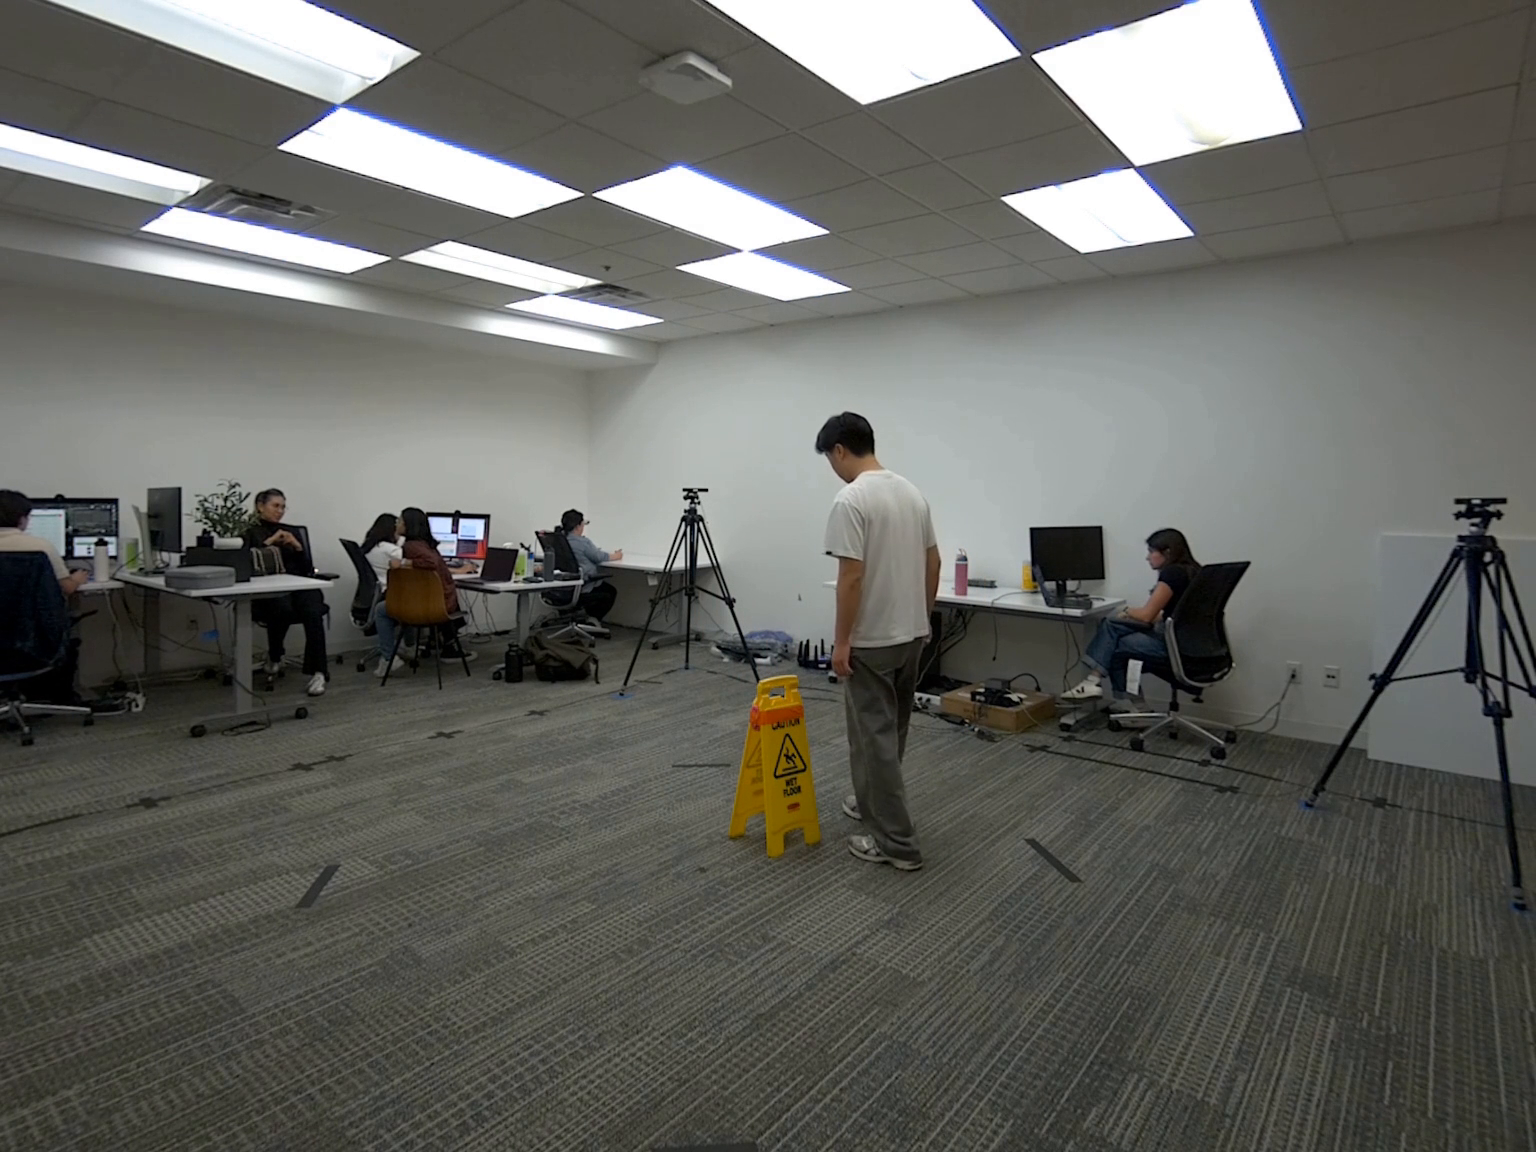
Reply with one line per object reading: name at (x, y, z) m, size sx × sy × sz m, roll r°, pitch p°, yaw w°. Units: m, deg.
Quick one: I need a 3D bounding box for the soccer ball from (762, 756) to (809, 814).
soccer ball at (0.072, 0.913, 3.696) m, size 0.187 × 0.187 × 0.188 m, roll 1°, pitch 4°, yaw -2°
